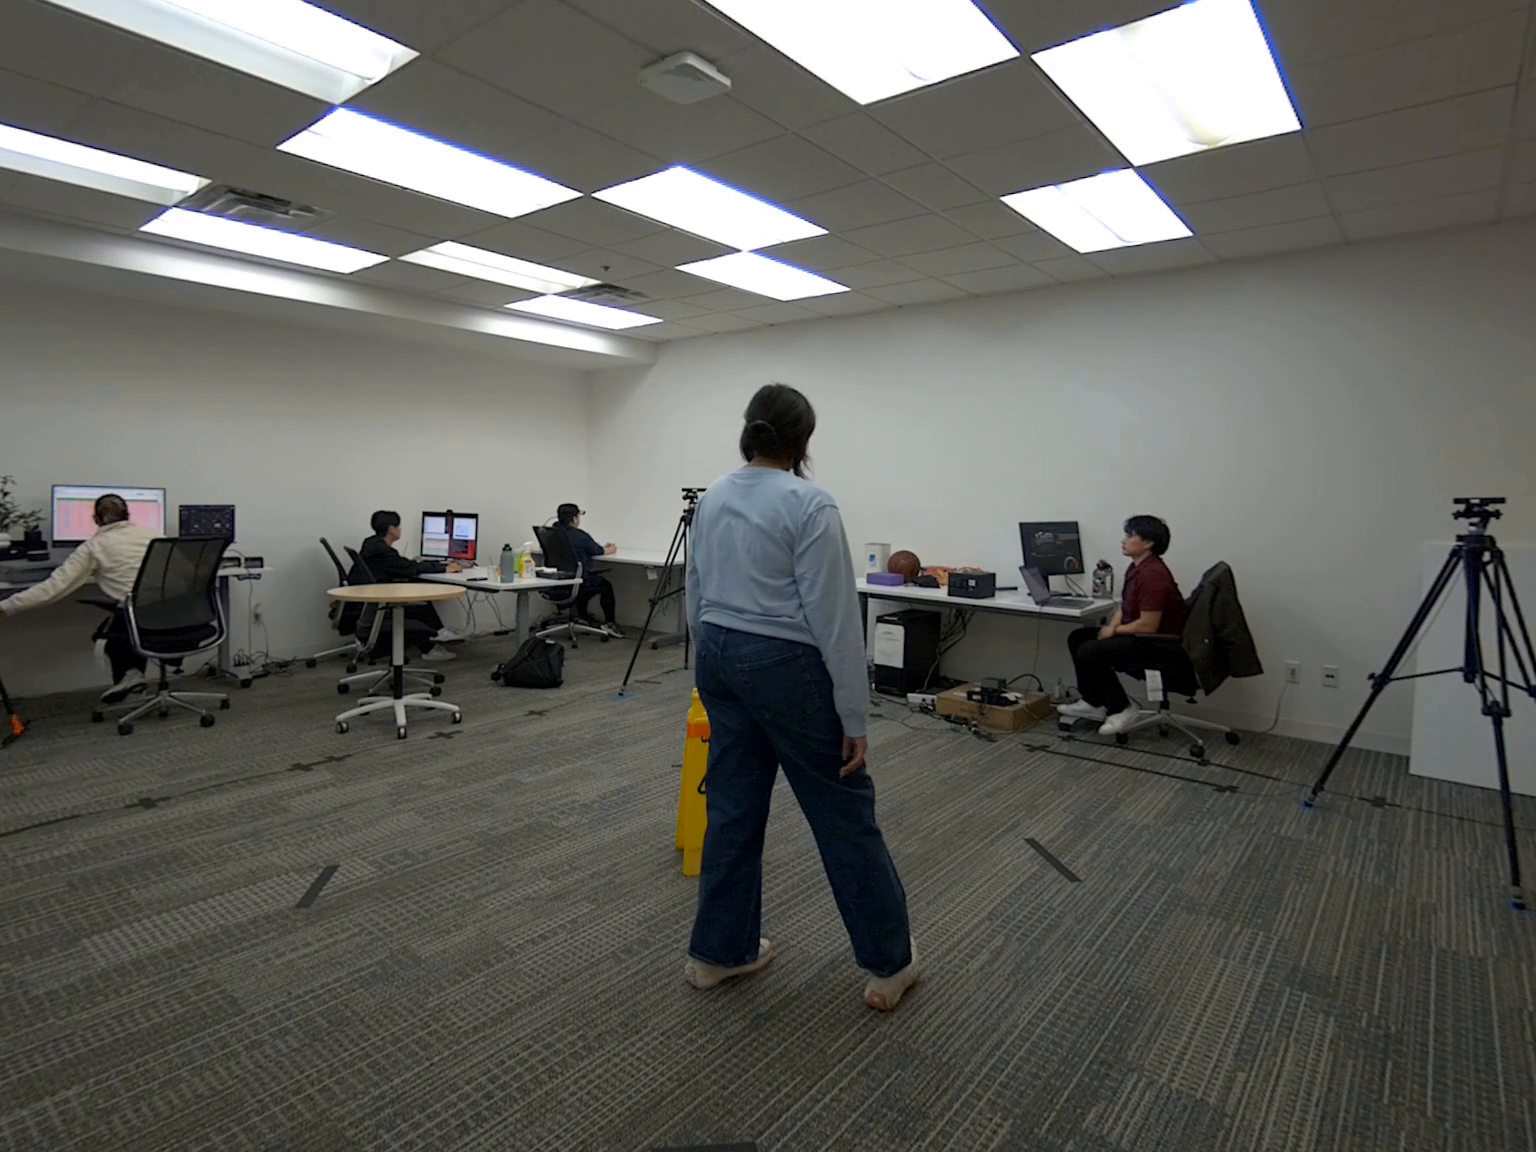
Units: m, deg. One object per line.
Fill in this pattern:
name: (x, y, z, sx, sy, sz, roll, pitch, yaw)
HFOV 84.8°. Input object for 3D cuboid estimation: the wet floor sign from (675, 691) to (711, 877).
wet floor sign: (-0.192, 0.739, 3.182, 0.279, 0.645, 0.294, 1, 2, -12)
